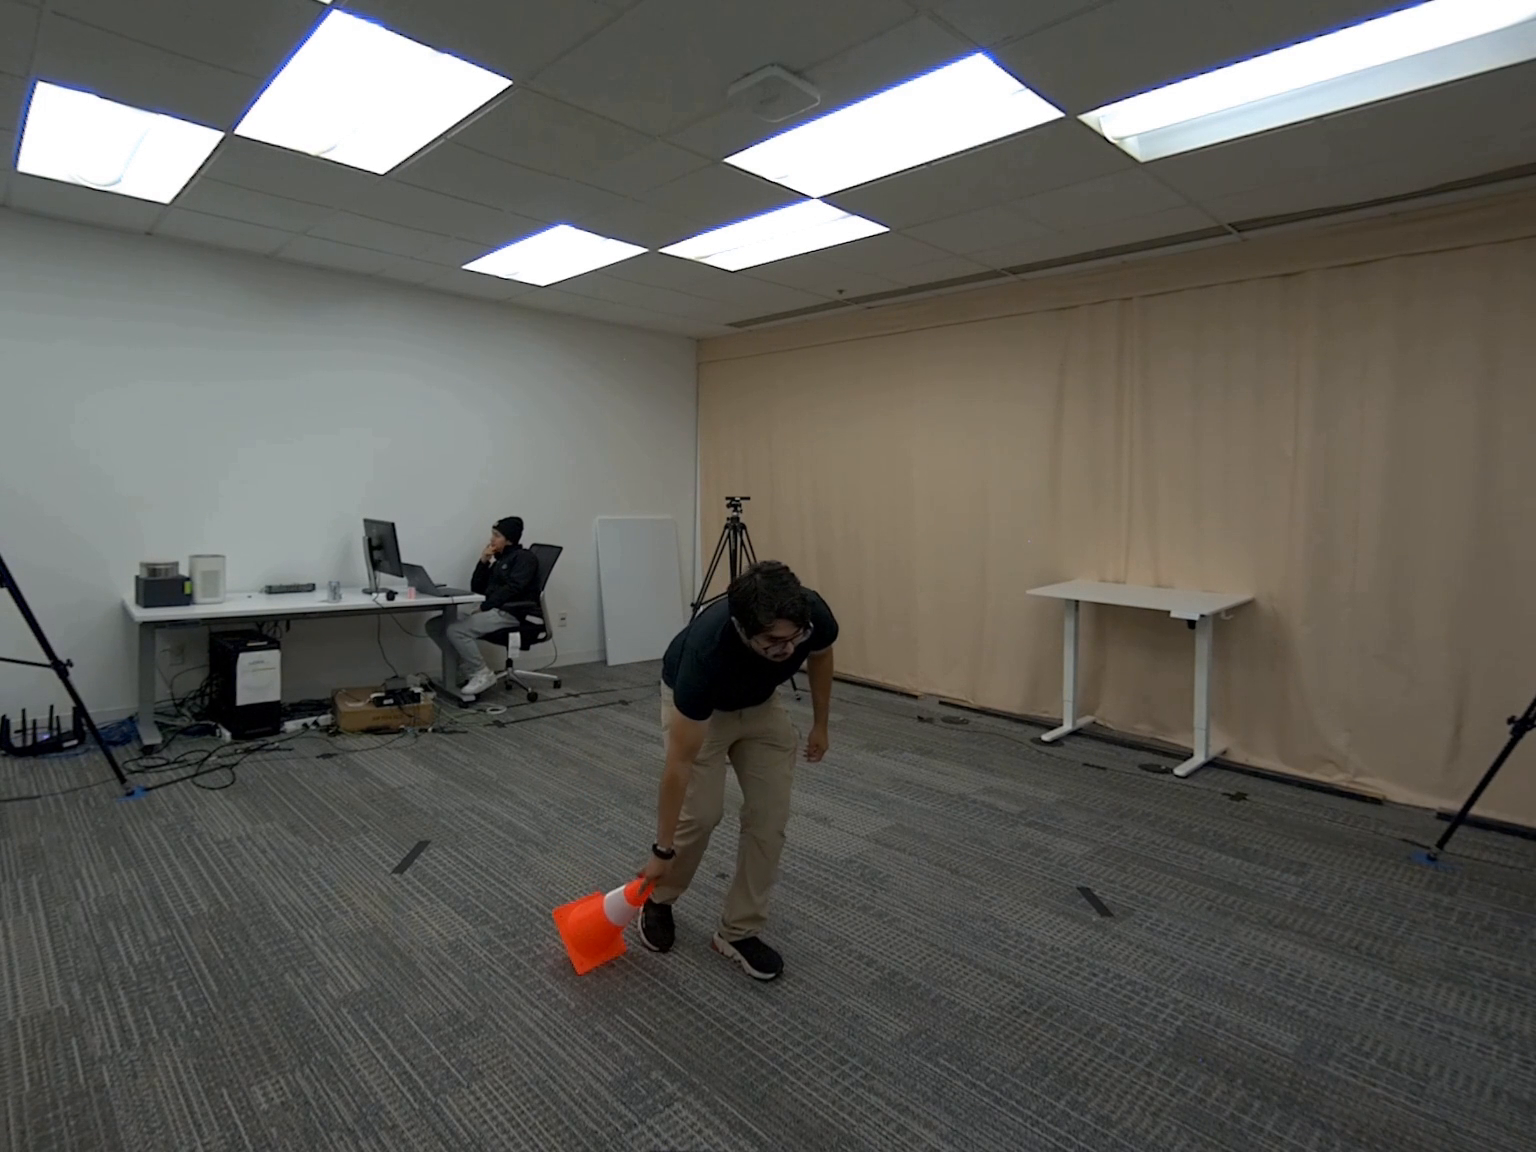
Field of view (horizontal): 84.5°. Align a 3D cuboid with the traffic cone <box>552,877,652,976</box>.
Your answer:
[{"bbox_3d":[-0.426,0.957,2.453,0.383,0.210,0.198,-48,-27,26],"label":"traffic cone"}]
